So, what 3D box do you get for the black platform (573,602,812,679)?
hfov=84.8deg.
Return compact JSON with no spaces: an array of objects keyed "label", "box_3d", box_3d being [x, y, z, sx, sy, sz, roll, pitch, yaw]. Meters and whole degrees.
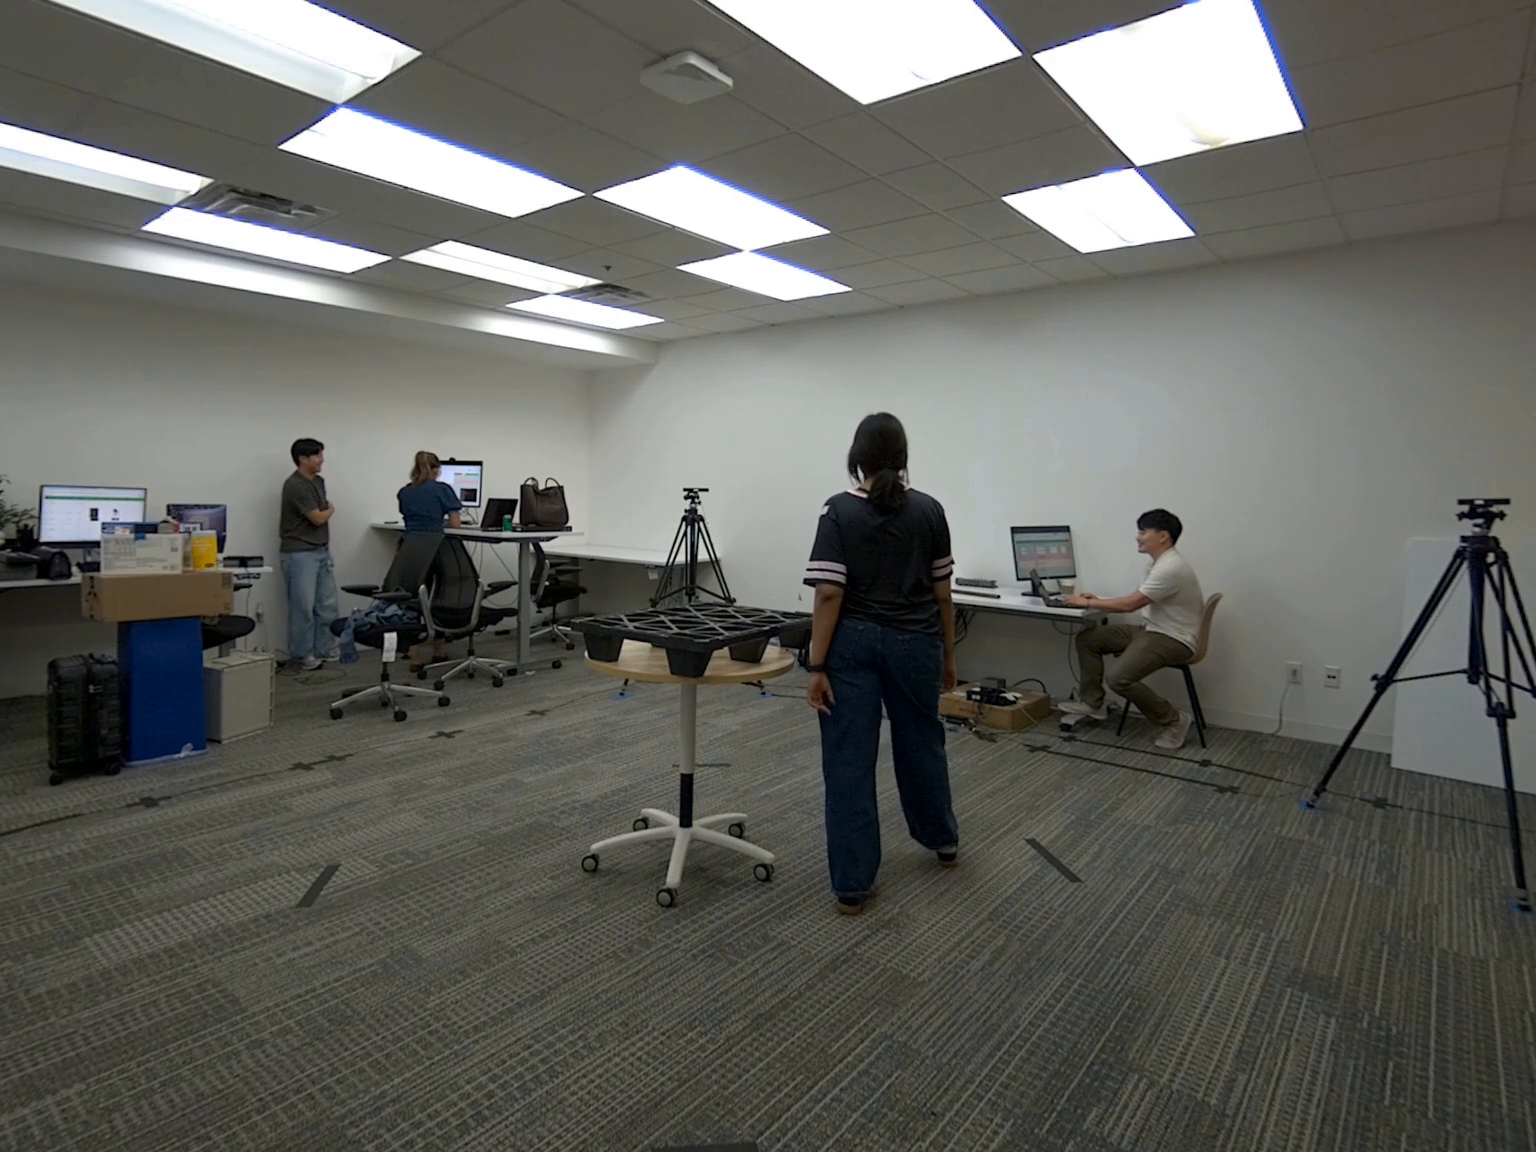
[{"label":"black platform","box_3d":[-0.234,0.222,3.125,0.625,0.143,0.783,6,7,34]}]
